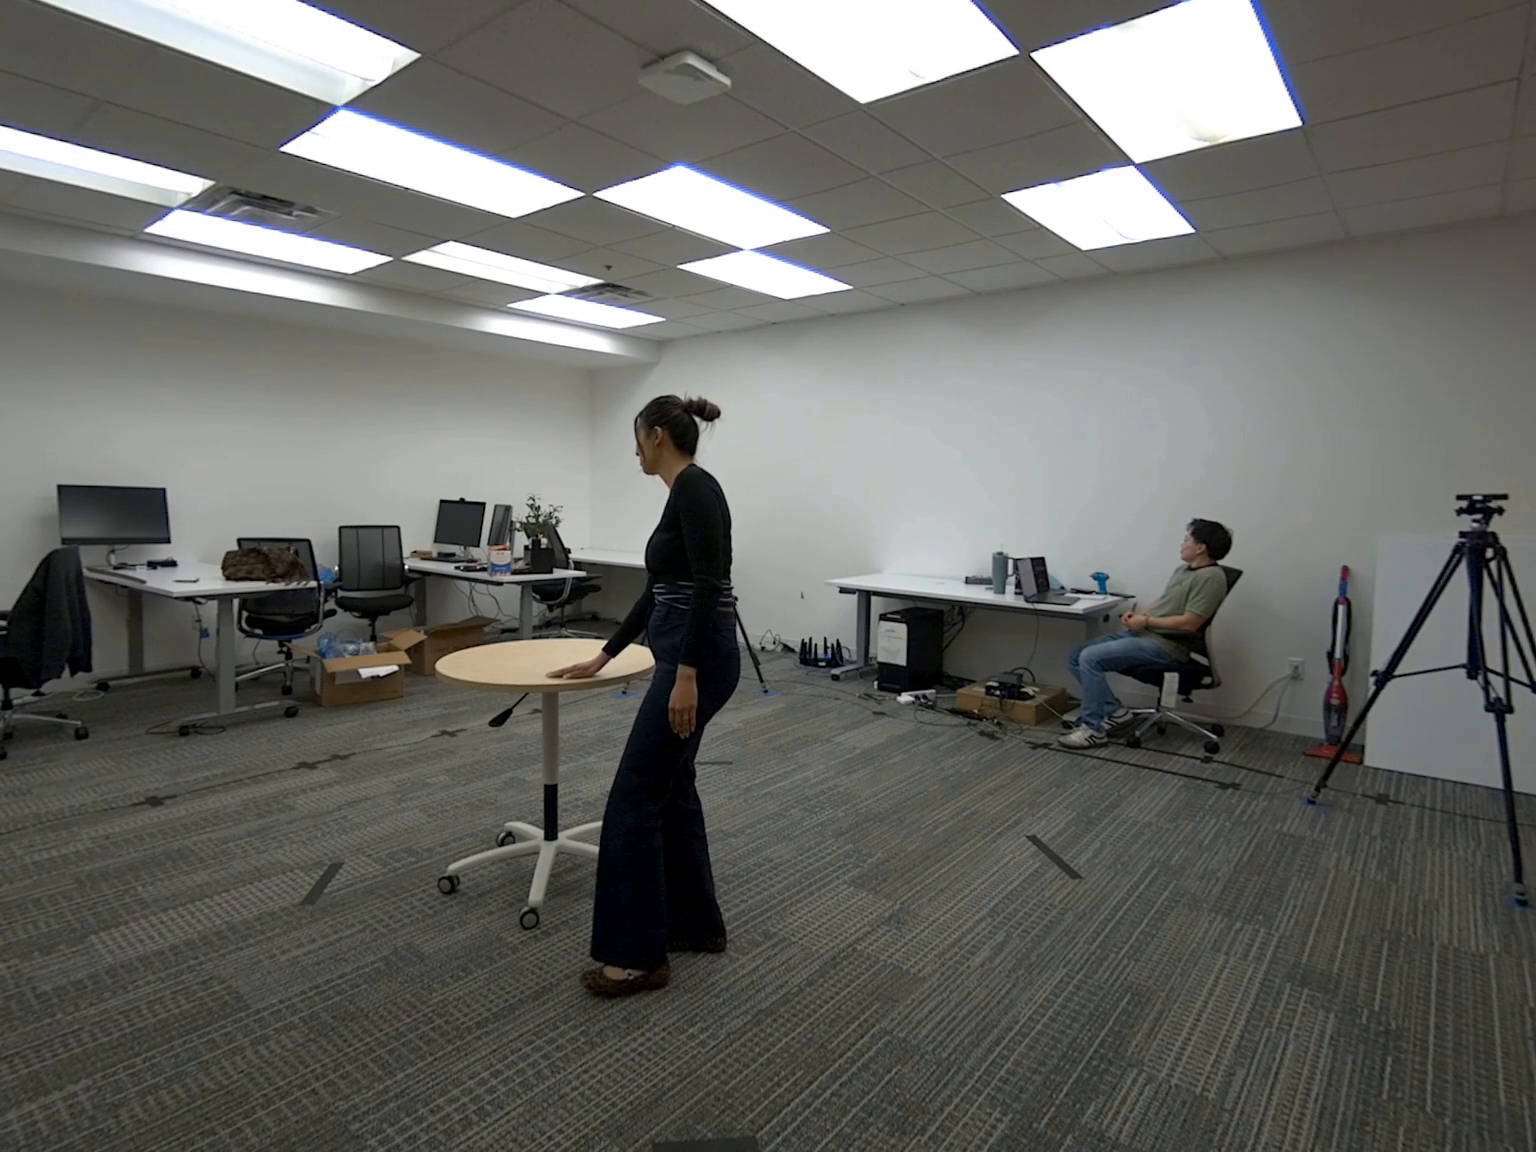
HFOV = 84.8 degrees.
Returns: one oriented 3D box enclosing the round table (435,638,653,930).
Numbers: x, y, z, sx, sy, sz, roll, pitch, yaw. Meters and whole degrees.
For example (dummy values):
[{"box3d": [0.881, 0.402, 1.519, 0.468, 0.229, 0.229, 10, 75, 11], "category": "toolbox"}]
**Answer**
[{"box3d": [-0.780, 0.681, 2.996, 0.763, 0.791, 0.768, 0, 4, -2], "category": "round table"}]
